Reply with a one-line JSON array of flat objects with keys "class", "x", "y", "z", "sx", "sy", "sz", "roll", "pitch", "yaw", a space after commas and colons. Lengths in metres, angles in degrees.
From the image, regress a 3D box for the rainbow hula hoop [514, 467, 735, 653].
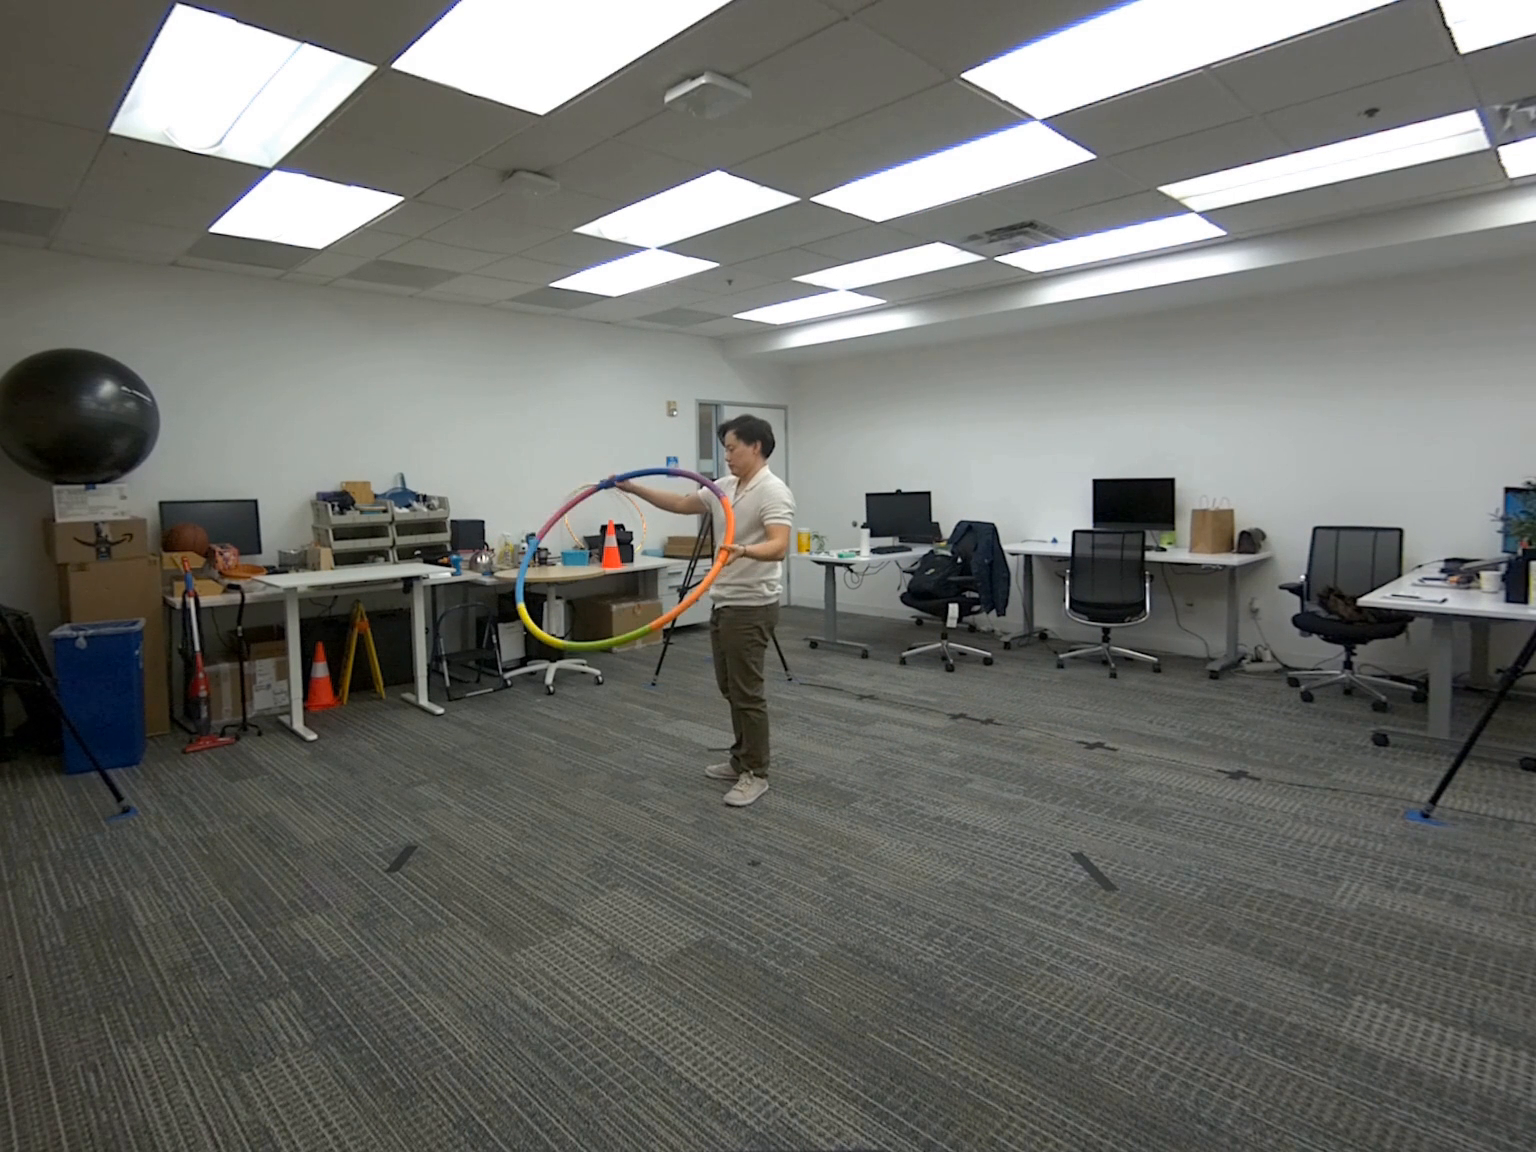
[{"class": "rainbow hula hoop", "x": -0.603, "y": -0.103, "z": 3.549, "sx": 0.988, "sy": 0.034, "sz": 1.006, "roll": -14, "pitch": 45, "yaw": 13}]
